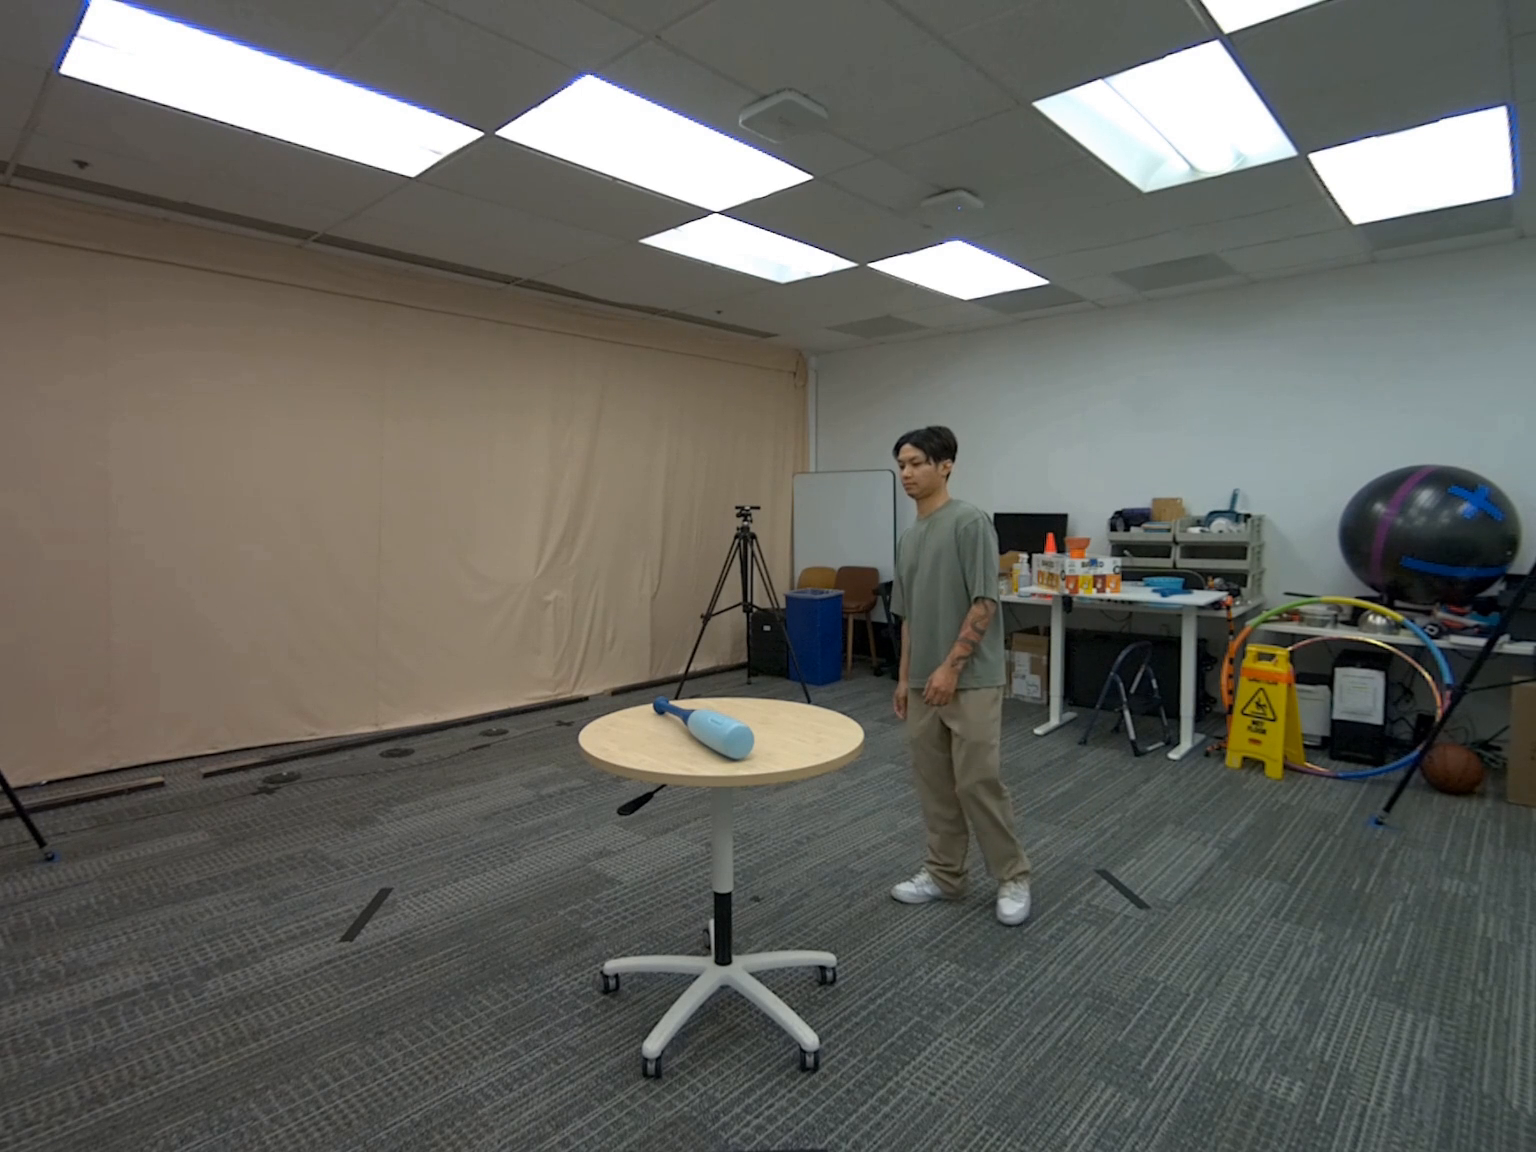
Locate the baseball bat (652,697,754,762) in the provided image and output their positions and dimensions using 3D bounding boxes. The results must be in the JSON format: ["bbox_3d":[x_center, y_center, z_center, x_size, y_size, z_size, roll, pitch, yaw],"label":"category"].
[{"bbox_3d":[-0.187,0.389,2.236,0.087,0.089,0.557,-2,2,-27],"label":"baseball bat"}]
